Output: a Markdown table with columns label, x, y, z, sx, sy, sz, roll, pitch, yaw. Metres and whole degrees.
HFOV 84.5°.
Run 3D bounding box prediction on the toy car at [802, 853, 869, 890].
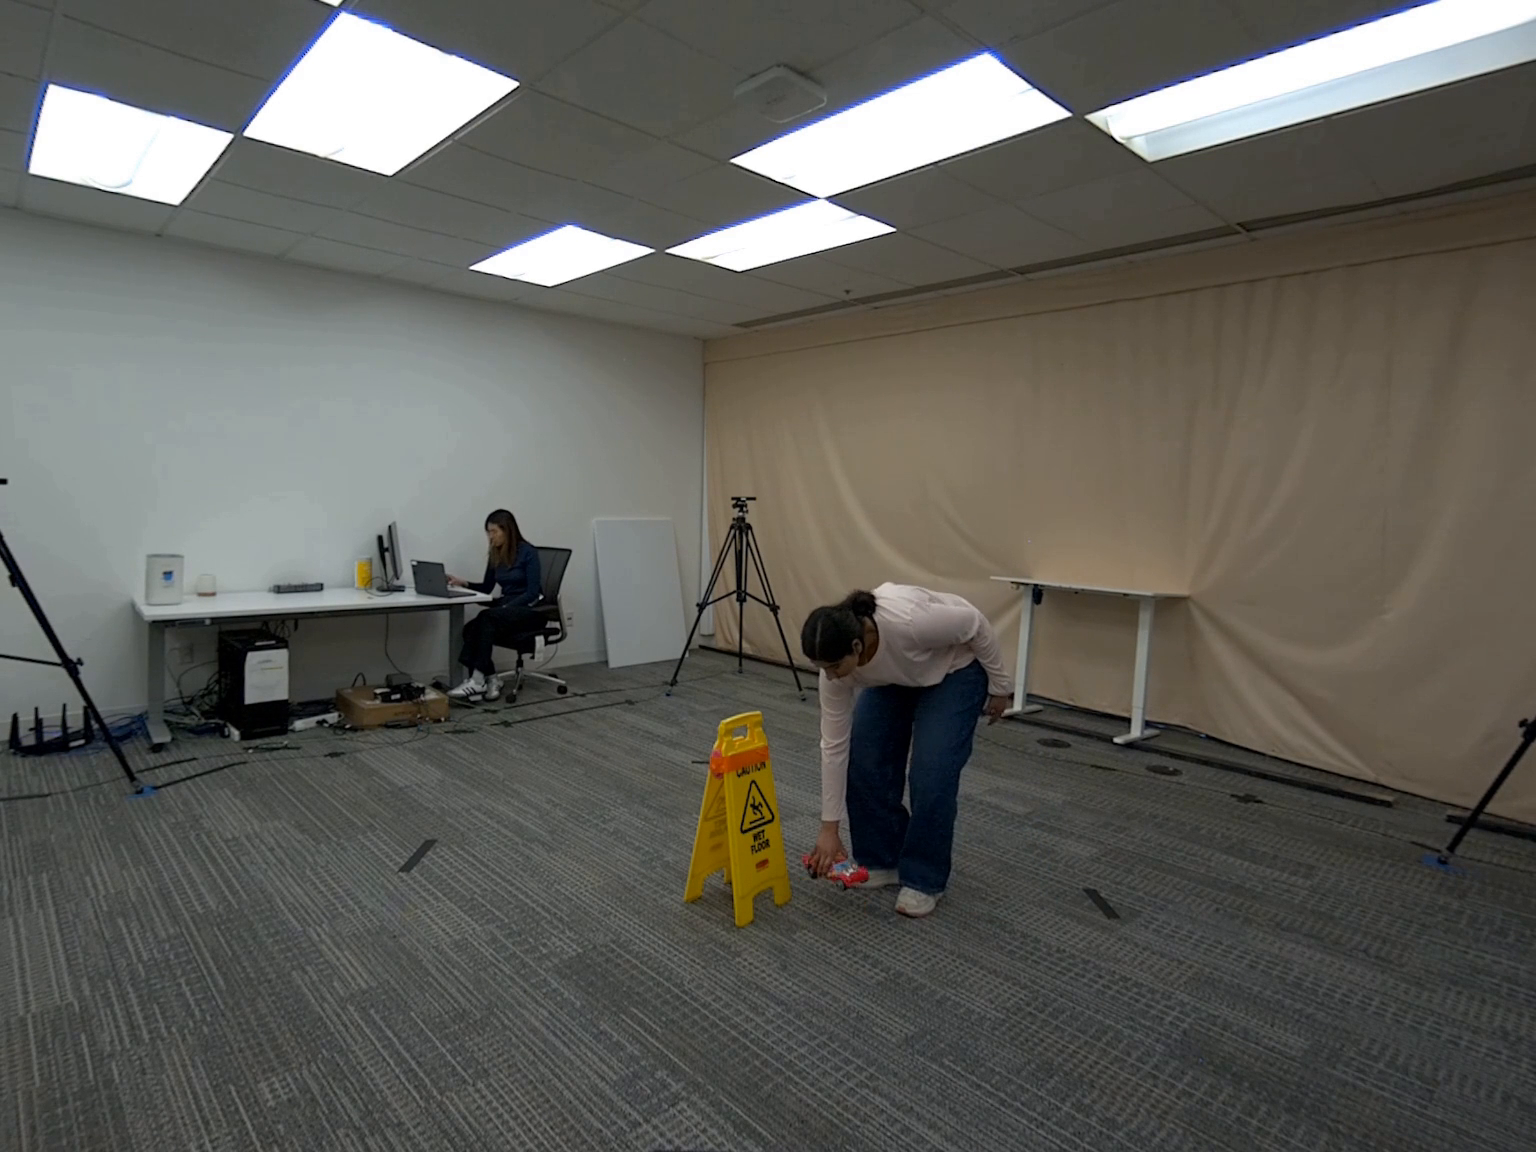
| label | x | y | z | sx | sy | sz | roll | pitch | yaw |
| --- | --- | --- | --- | --- | --- | --- | --- | --- | --- |
| toy car | 0.213 | 0.992 | 2.837 | 0.128 | 0.082 | 0.261 | -10 | 15 | -36 |
